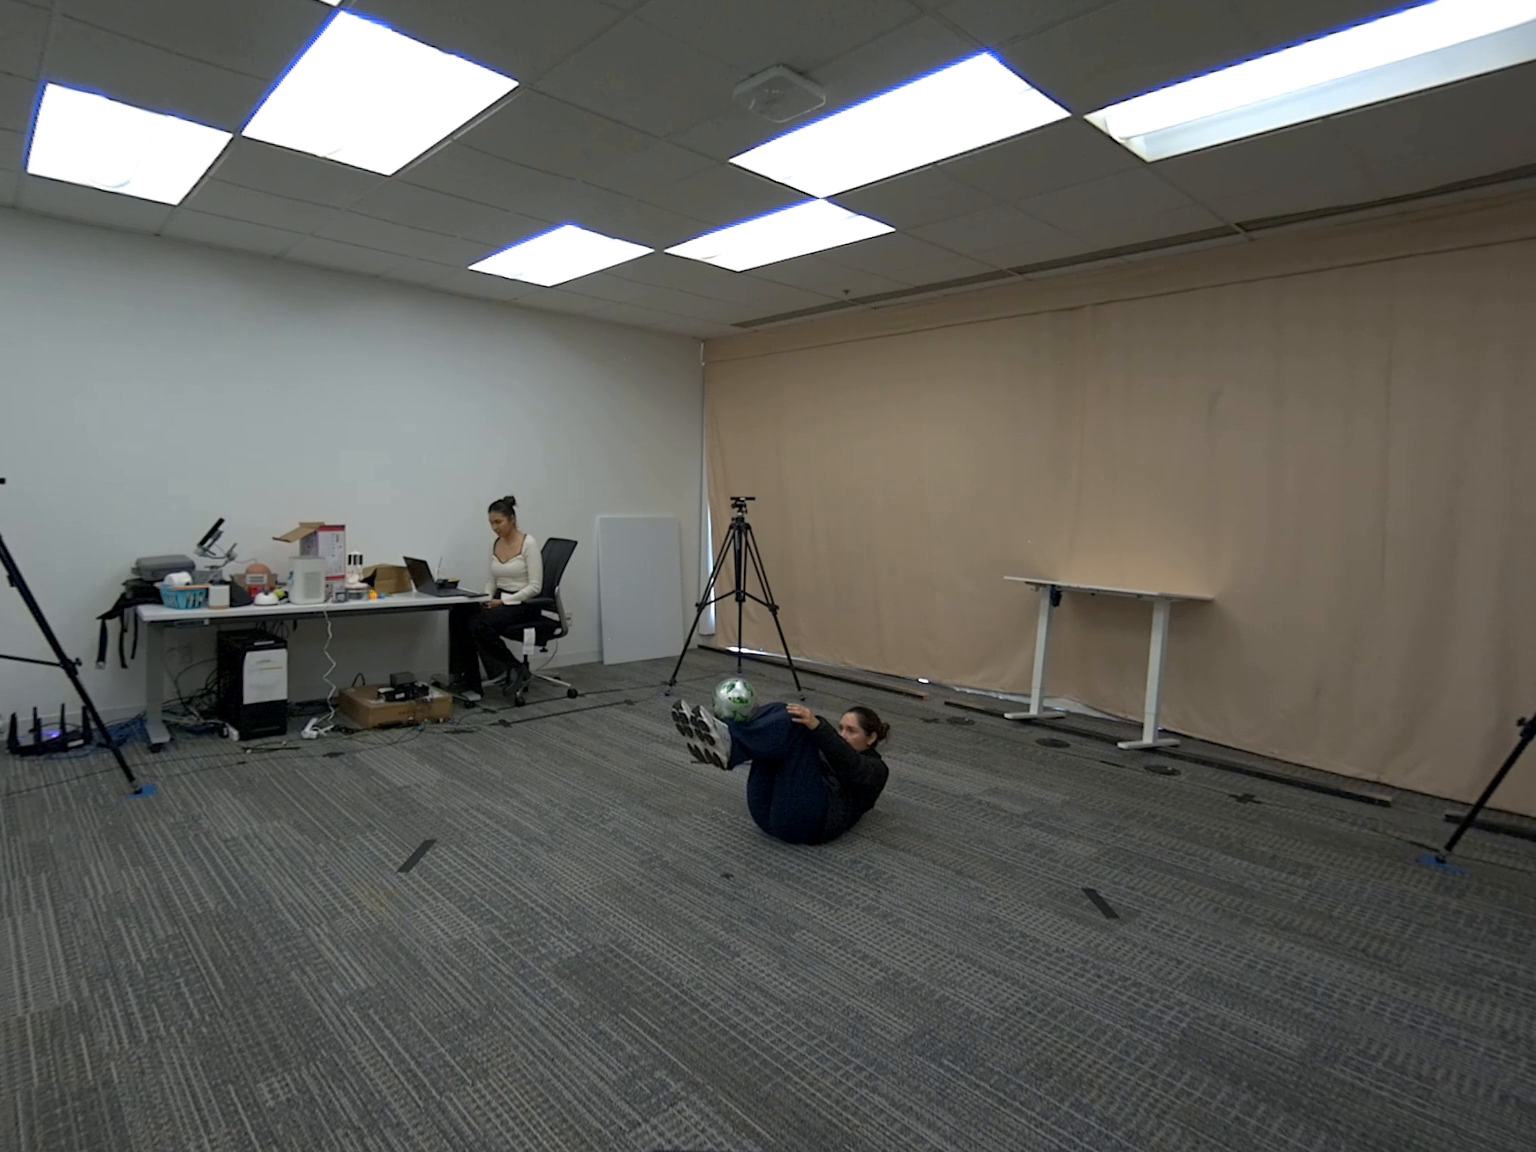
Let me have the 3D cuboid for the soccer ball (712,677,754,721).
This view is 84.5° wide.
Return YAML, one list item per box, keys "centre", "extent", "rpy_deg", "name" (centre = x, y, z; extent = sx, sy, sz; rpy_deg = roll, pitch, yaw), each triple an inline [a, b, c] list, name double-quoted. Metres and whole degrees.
- centre: [-0.140, 0.497, 3.305]
  extent: [0.187, 0.186, 0.188]
  rpy_deg: [0, 7, -1]
  name: "soccer ball"
